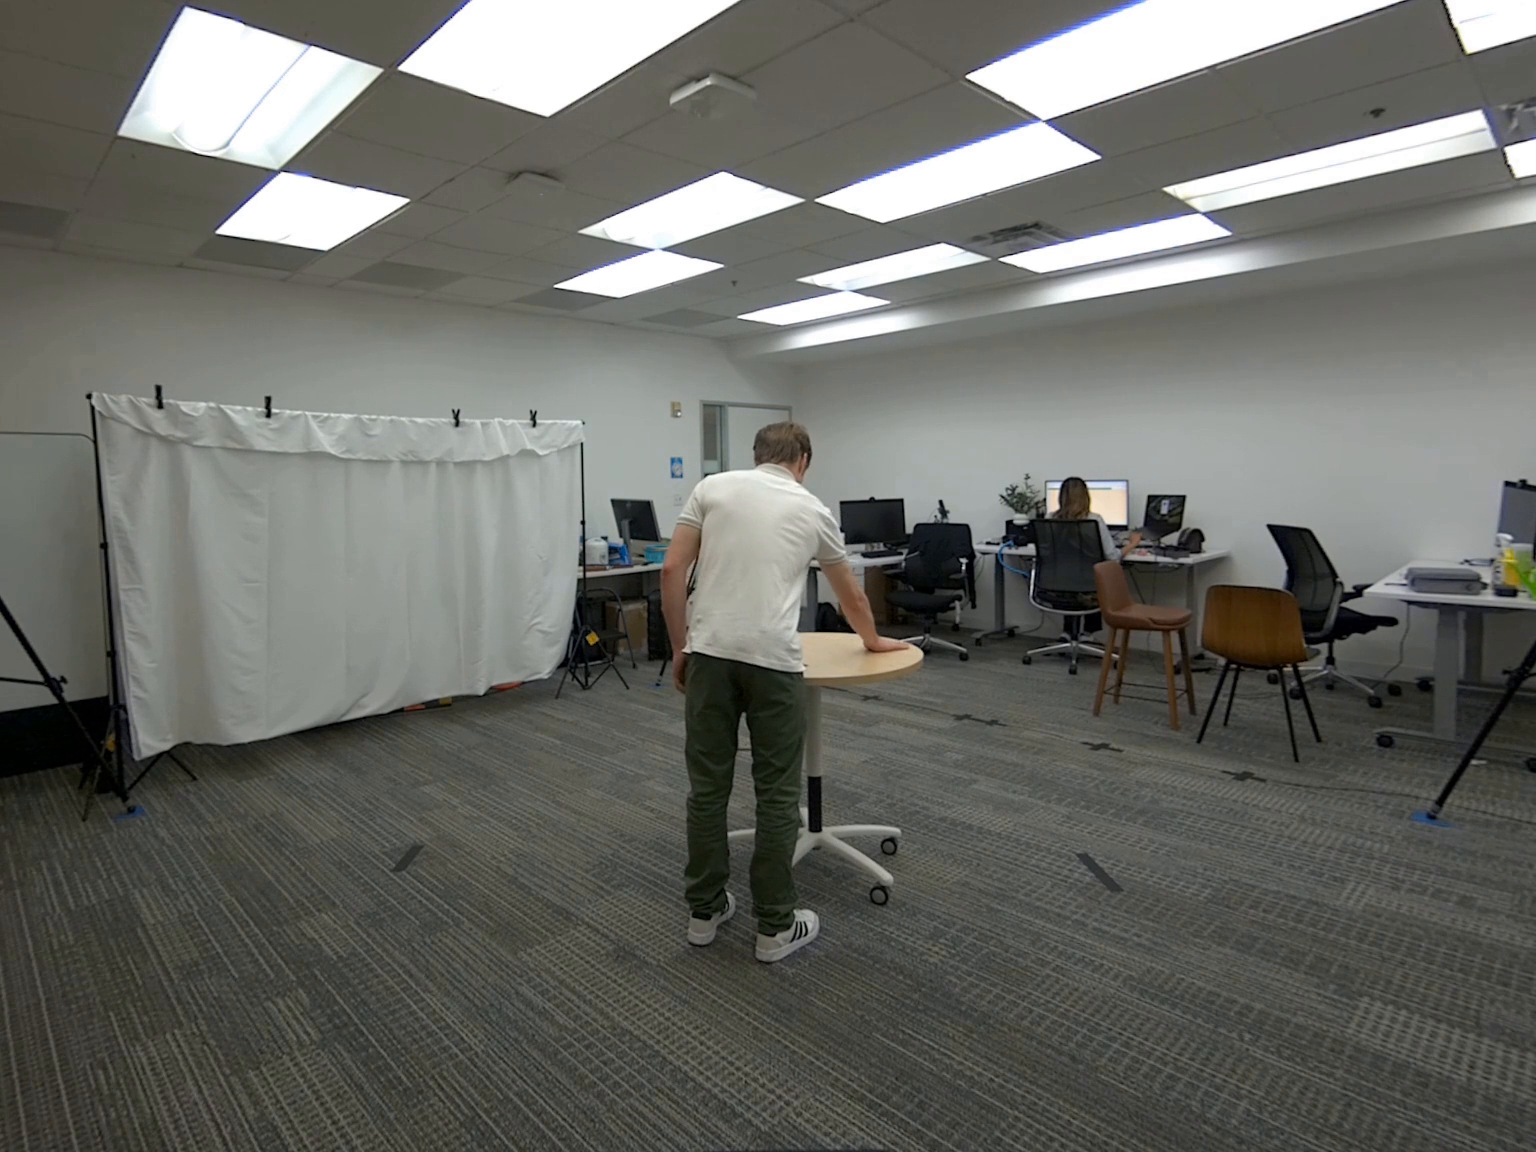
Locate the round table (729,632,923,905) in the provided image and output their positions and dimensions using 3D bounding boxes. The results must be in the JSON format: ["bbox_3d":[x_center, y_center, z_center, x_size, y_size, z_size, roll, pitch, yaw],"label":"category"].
[{"bbox_3d":[0.182,0.657,3.046,0.784,0.783,0.789,-2,5,-2],"label":"round table"}]
